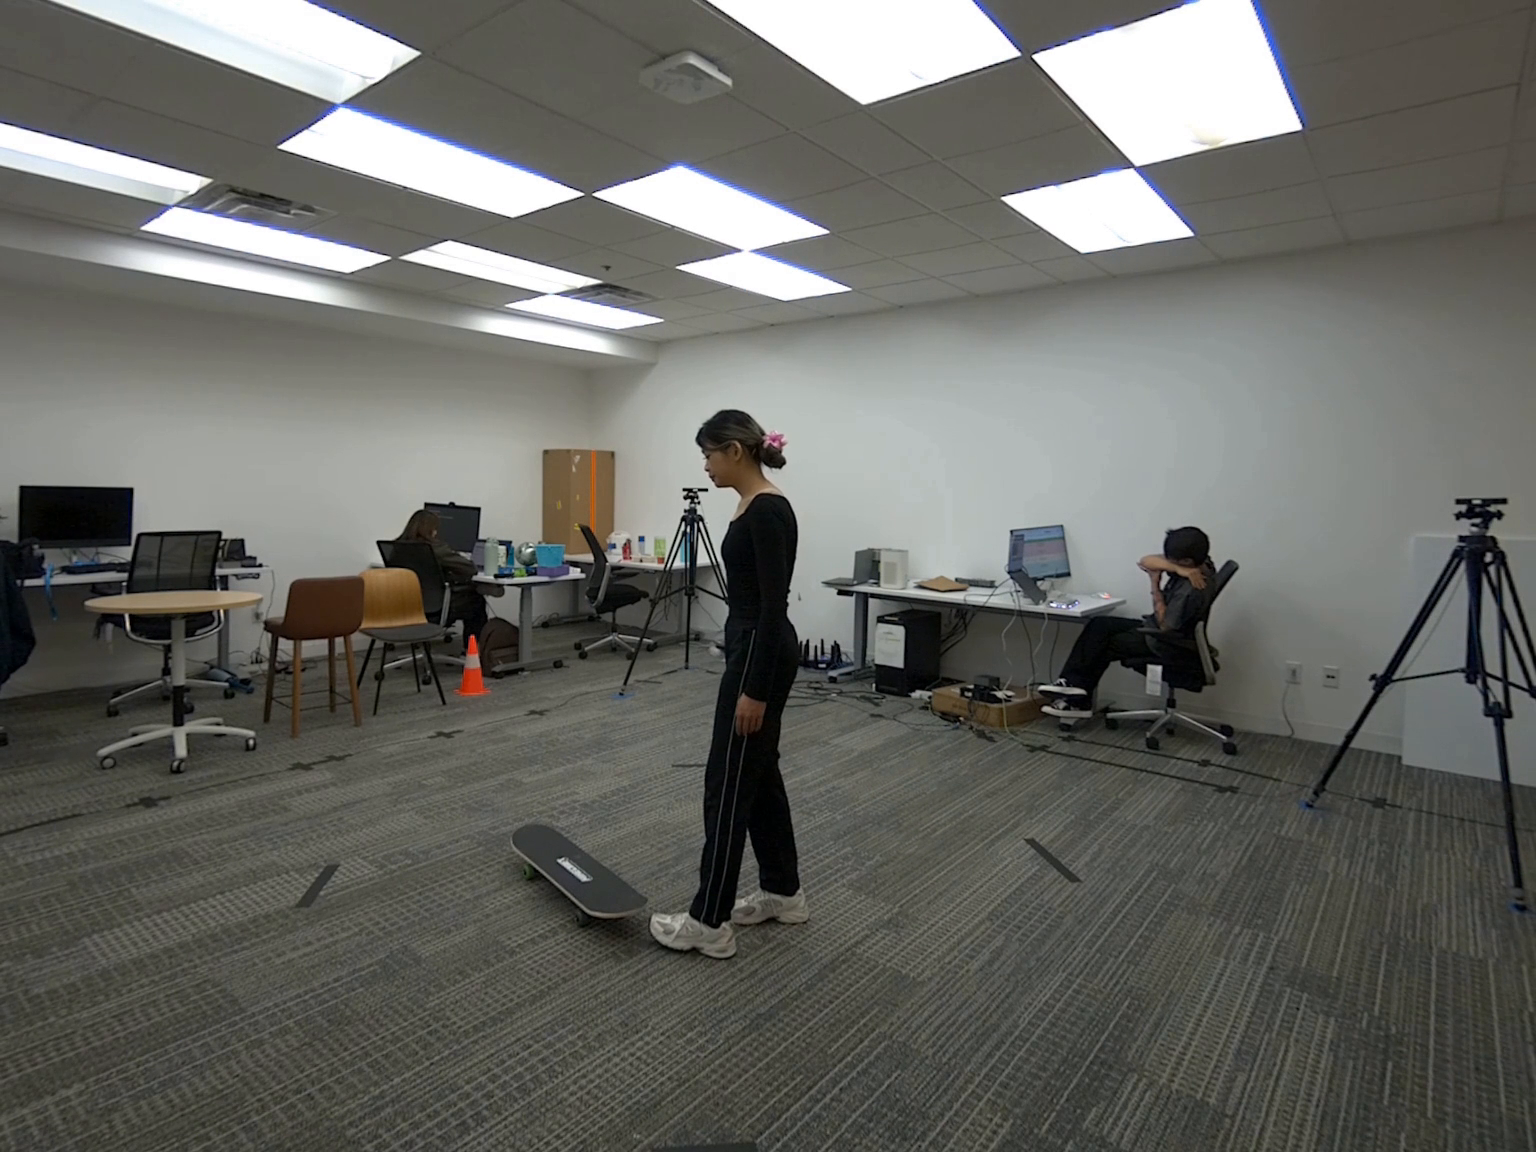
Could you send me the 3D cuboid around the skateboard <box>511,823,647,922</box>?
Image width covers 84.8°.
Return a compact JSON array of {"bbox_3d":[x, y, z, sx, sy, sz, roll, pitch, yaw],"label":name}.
[{"bbox_3d":[-0.673,1.027,2.885,0.188,0.110,0.812,-3,7,-38],"label":"skateboard"}]
